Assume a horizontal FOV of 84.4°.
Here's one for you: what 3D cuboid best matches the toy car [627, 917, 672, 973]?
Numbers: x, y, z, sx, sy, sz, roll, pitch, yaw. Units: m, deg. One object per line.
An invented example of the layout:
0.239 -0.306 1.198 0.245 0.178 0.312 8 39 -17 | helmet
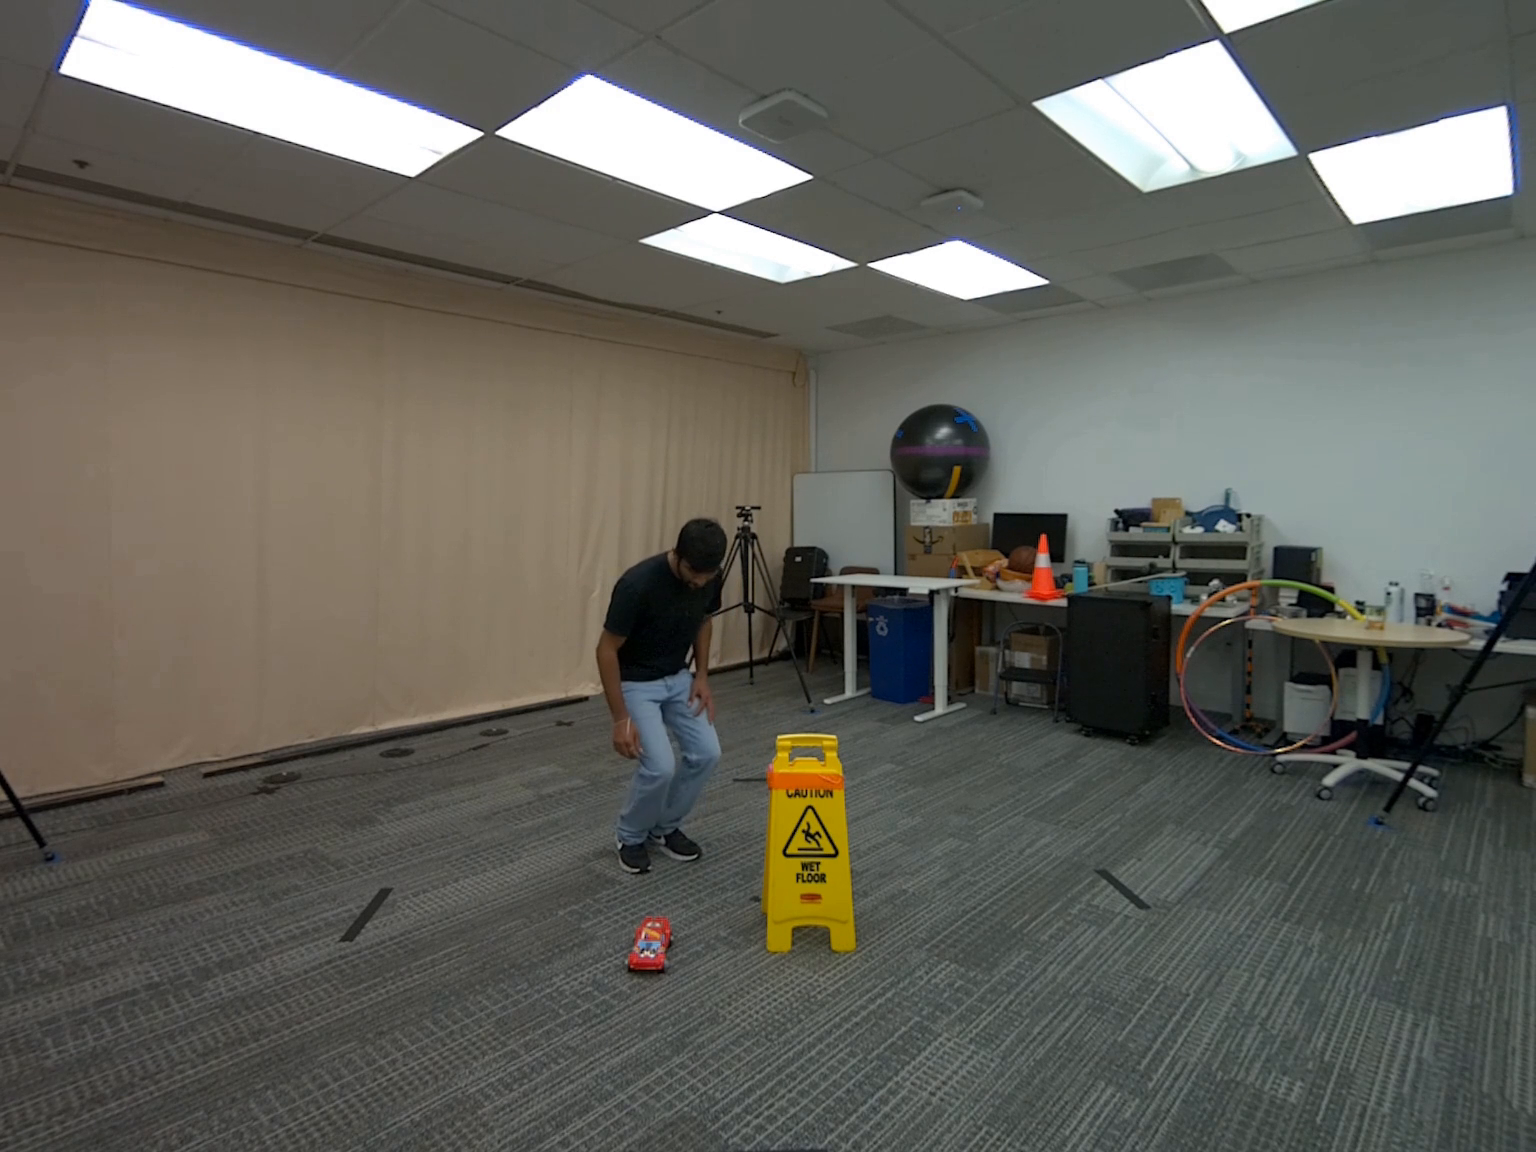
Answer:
-0.368 1.141 2.615 0.130 0.082 0.256 -1 15 1 | toy car
